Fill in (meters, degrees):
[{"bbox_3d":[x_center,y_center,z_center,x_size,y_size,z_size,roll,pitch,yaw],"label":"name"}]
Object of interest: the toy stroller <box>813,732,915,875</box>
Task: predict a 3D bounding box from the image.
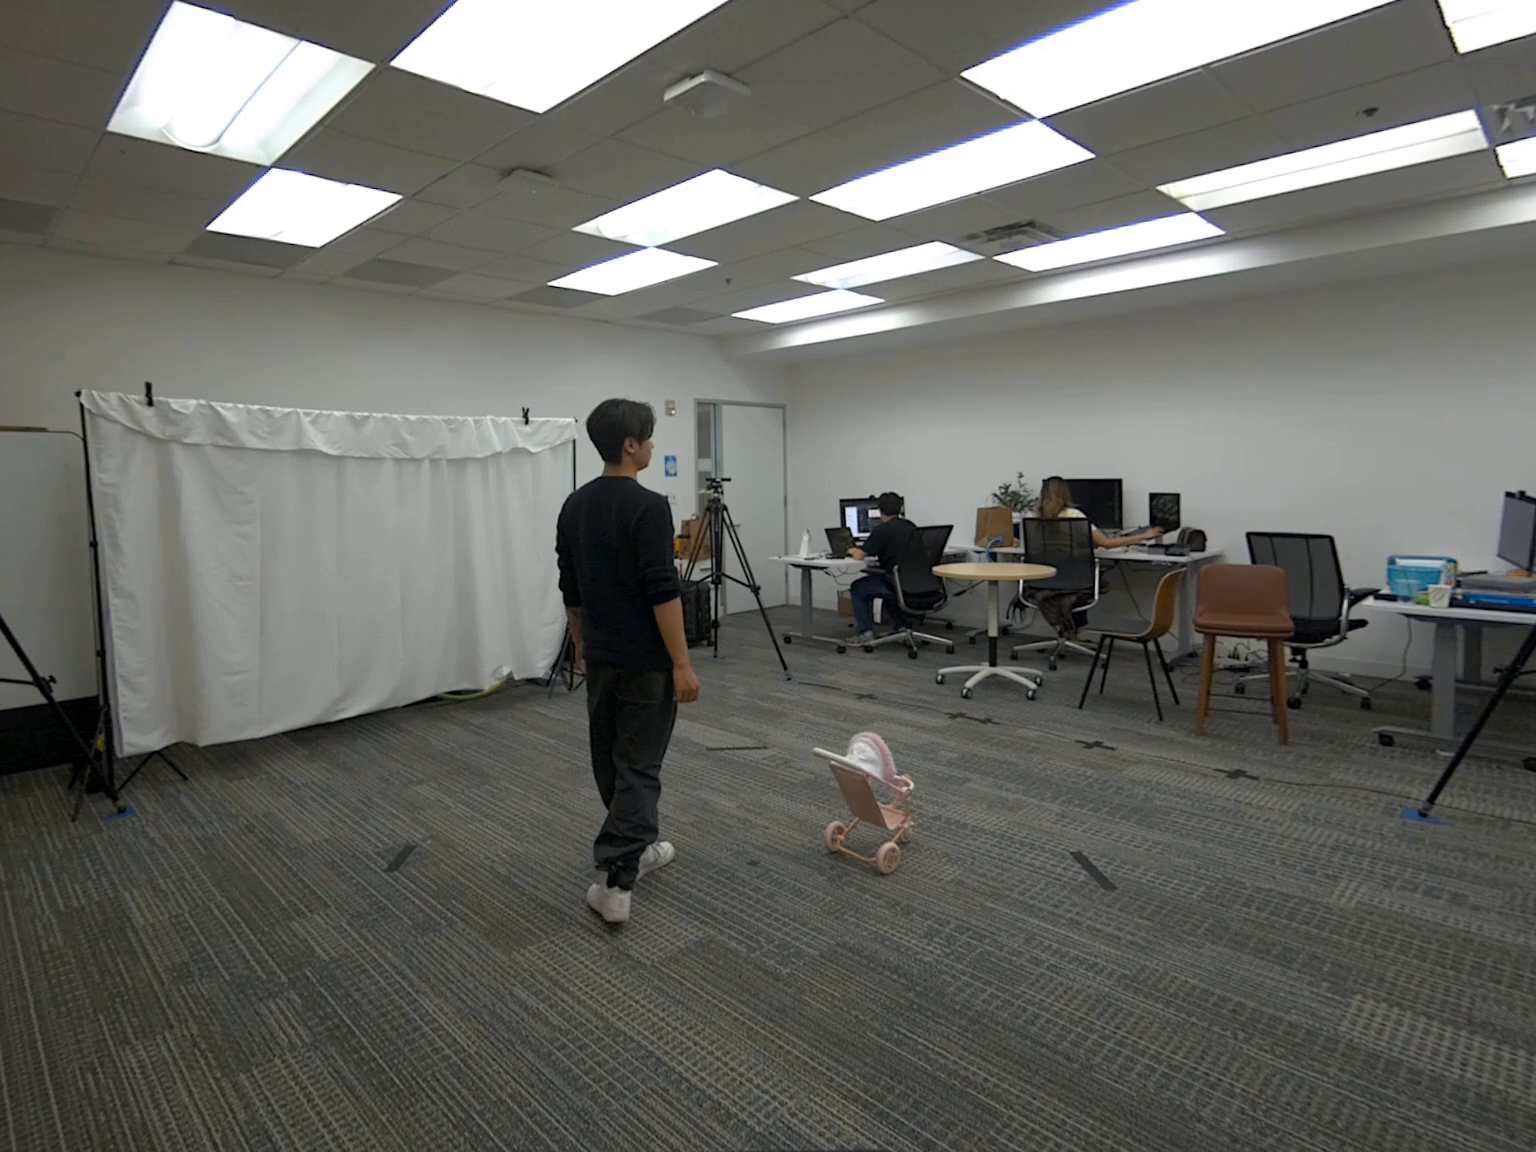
[{"bbox_3d":[0.382,0.807,3.127,0.336,0.527,0.290,-22,16,-34],"label":"toy stroller"}]
